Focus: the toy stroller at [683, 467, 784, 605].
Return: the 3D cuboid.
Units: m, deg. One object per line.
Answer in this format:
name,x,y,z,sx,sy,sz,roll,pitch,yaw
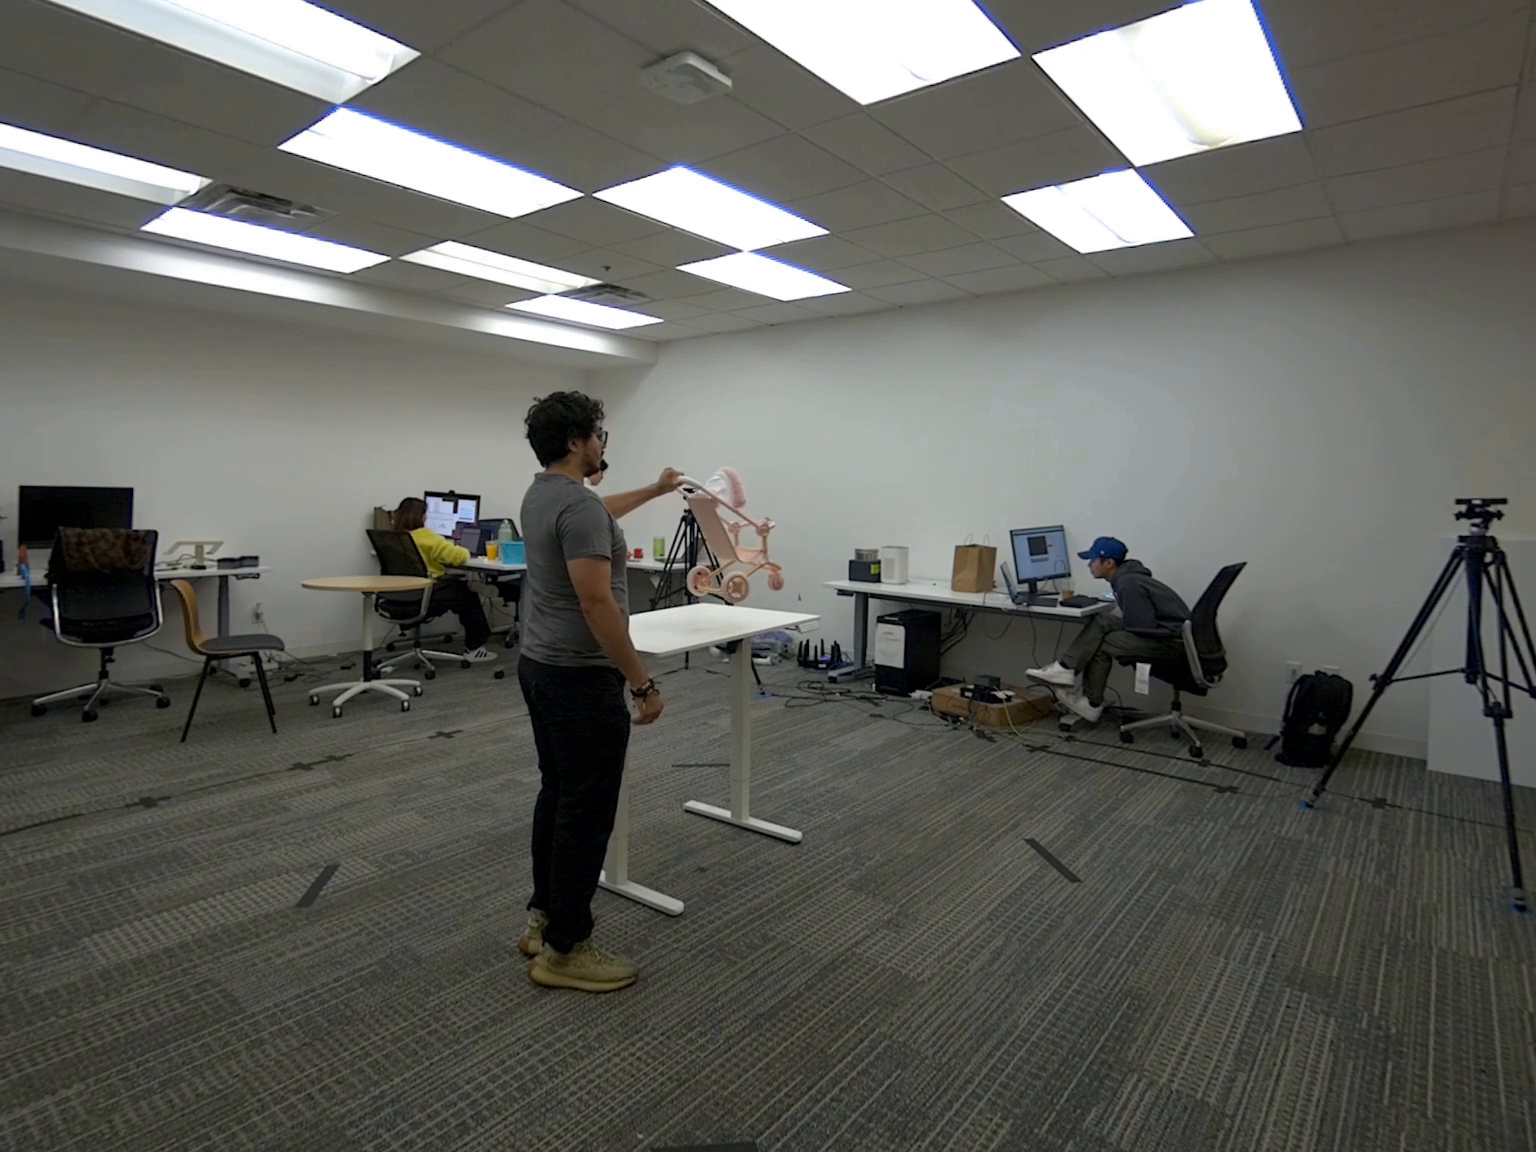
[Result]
toy stroller,-0.144,-0.148,3.057,0.336,0.528,0.289,-20,12,-25
